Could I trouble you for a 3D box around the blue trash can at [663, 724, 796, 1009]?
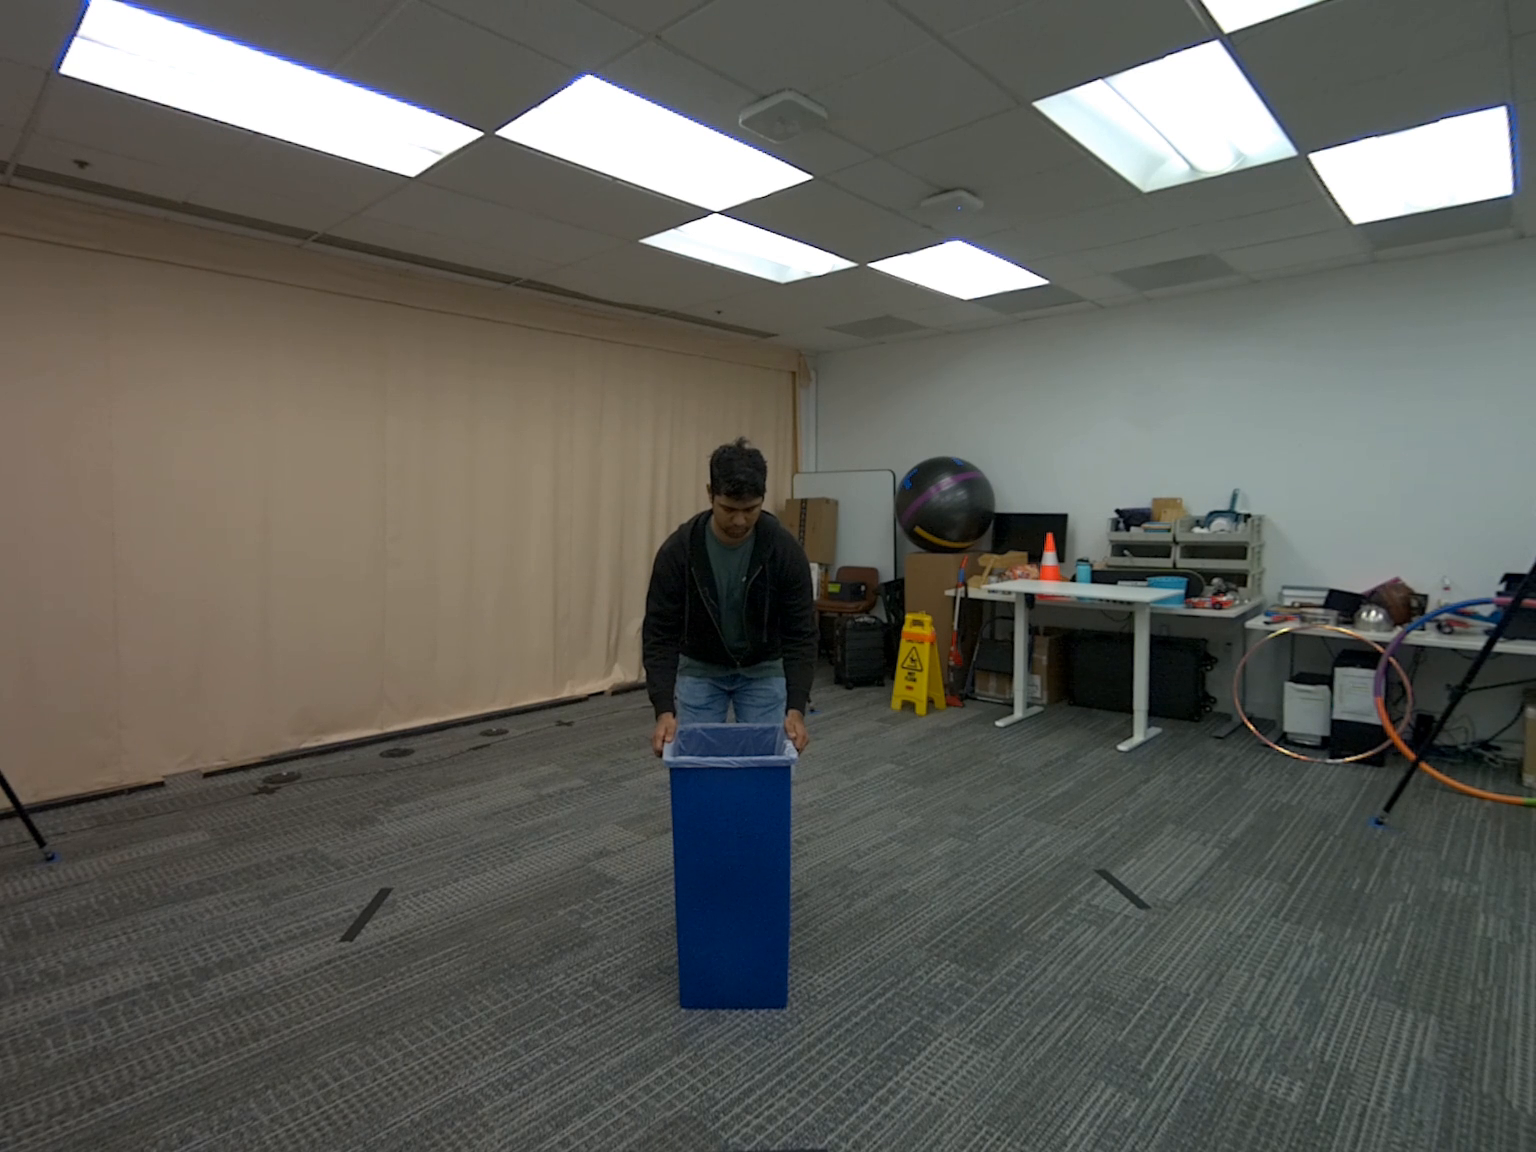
[{"bbox_3d":[-0.112,0.833,2.462,0.374,0.712,0.379,0,2,-1],"label":"blue trash can"}]
